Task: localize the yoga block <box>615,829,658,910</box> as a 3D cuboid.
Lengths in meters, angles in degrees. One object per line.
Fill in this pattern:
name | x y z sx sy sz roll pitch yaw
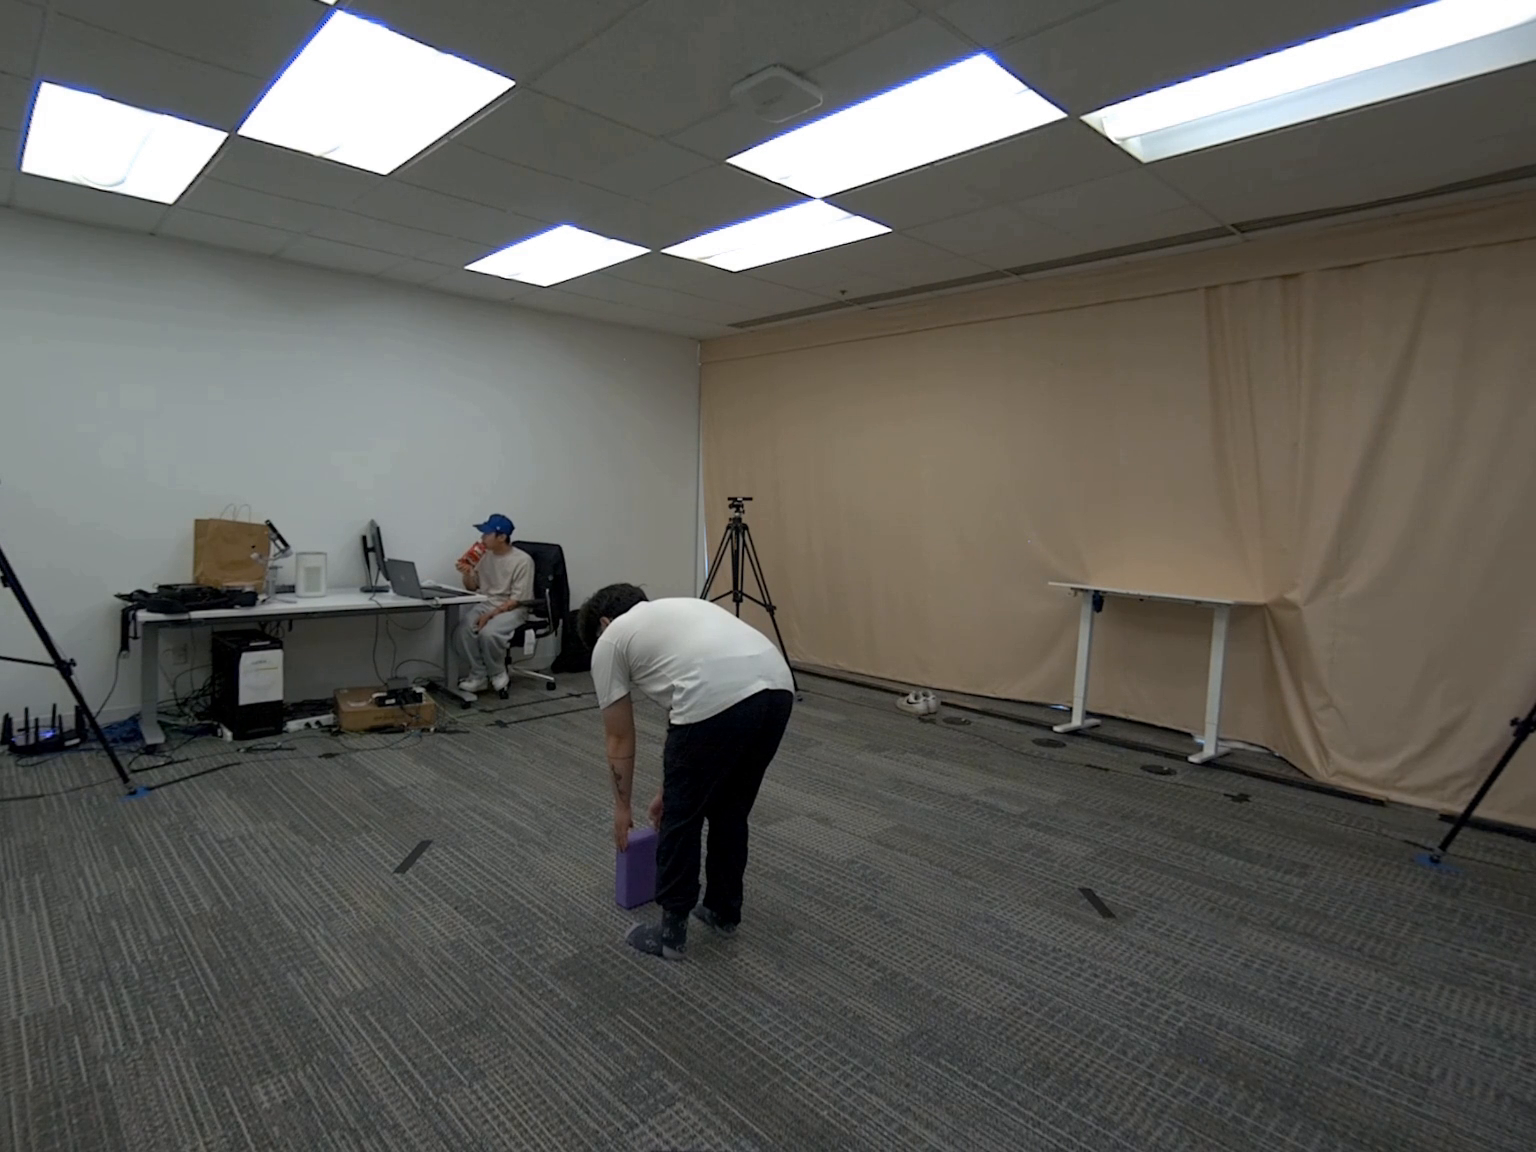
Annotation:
yoga block | -0.453 1.011 2.889 0.146 0.228 0.078 -5 8 -45
